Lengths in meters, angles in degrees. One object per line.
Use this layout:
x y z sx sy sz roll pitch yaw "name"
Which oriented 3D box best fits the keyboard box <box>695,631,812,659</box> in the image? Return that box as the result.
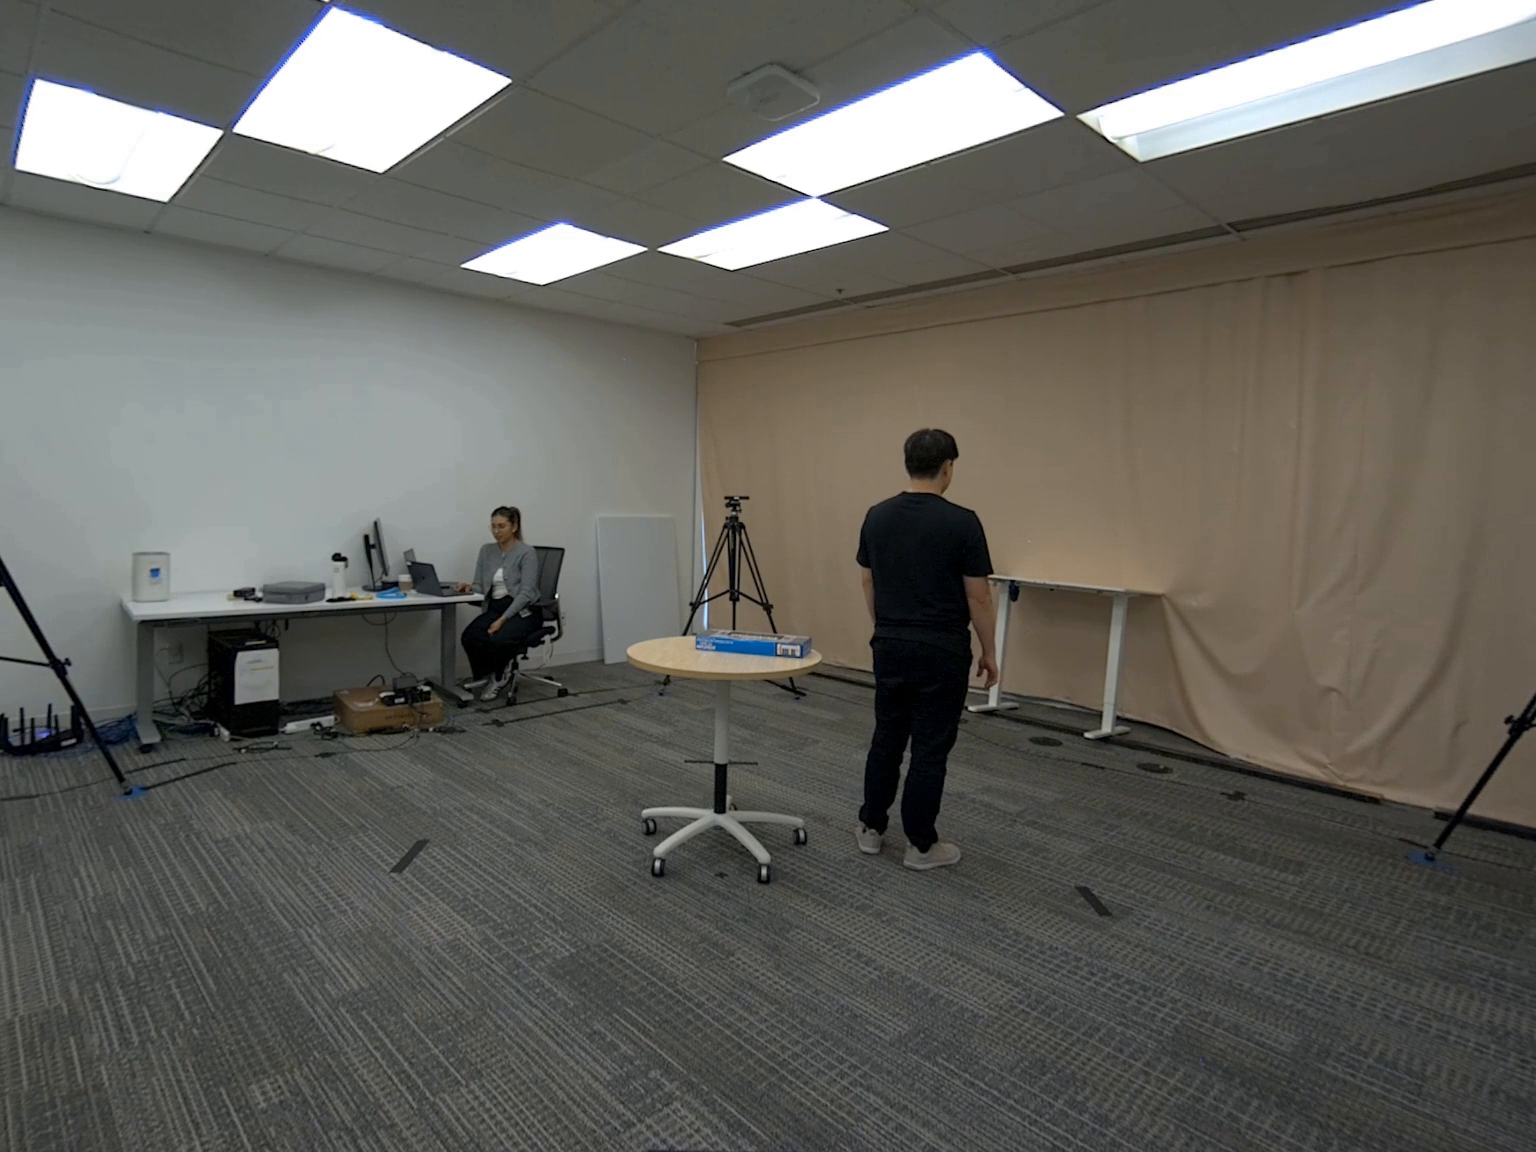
-0.063 0.267 3.370 0.443 0.059 0.174 3 5 17 "keyboard box"
